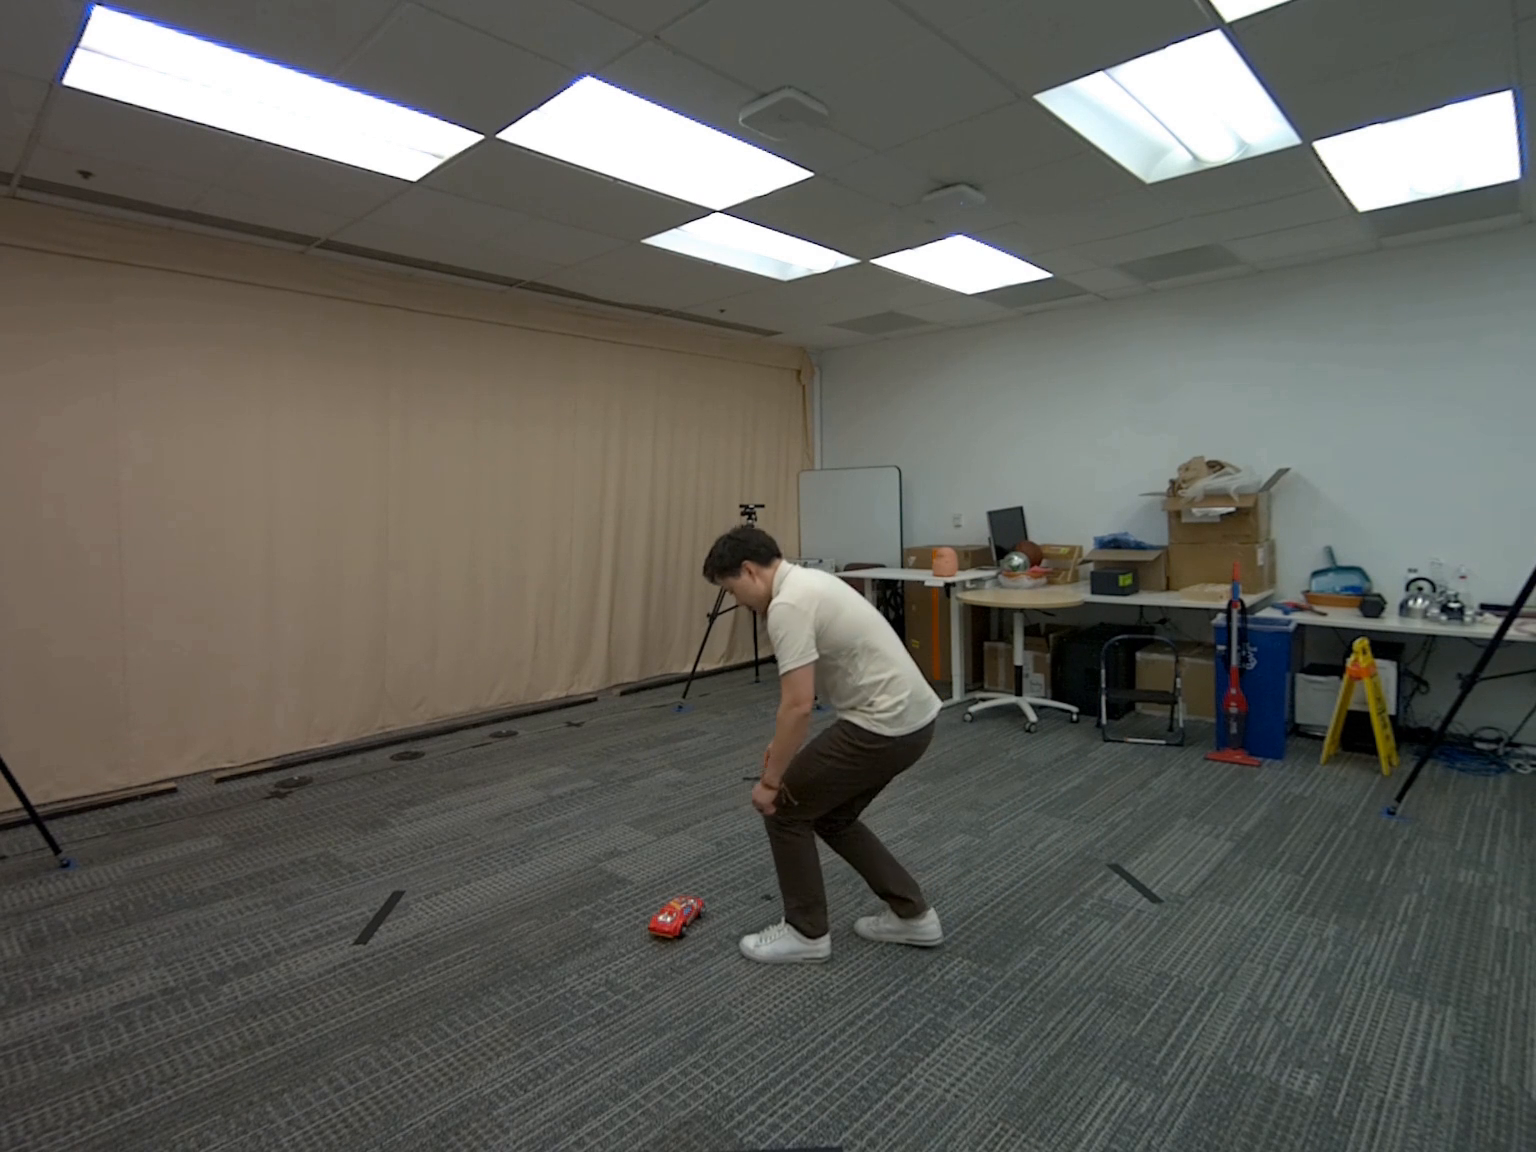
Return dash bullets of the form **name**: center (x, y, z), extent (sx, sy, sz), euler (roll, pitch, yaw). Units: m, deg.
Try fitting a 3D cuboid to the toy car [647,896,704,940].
- **toy car**: center (-0.304, 1.131, 2.784), extent (0.133, 0.083, 0.247), euler (1, -5, 24)
